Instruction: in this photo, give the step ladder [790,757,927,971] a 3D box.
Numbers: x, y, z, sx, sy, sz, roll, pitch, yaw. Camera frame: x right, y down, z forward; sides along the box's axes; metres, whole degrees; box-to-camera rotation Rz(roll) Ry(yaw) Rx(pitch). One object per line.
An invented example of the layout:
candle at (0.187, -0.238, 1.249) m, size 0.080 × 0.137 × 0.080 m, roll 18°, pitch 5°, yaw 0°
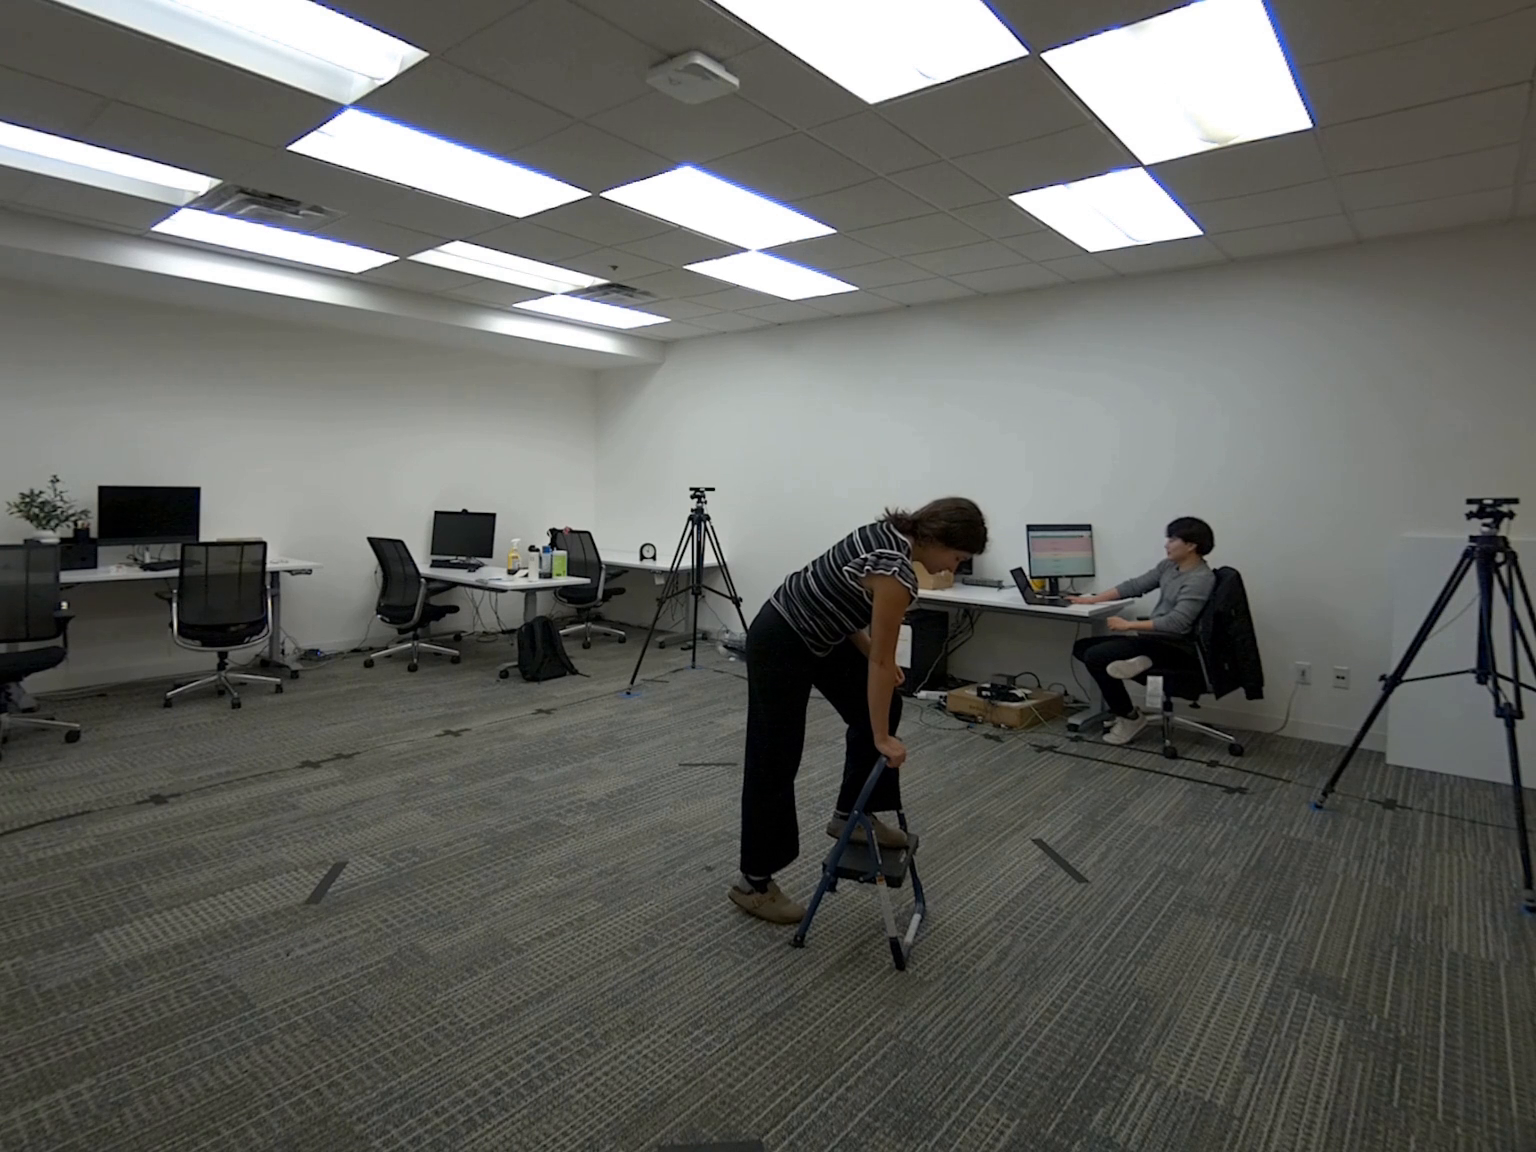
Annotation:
step ladder at (0.301, 0.816, 2.704) m, size 0.357 × 0.604 × 0.422 m, roll 3°, pitch 4°, yaw 20°
